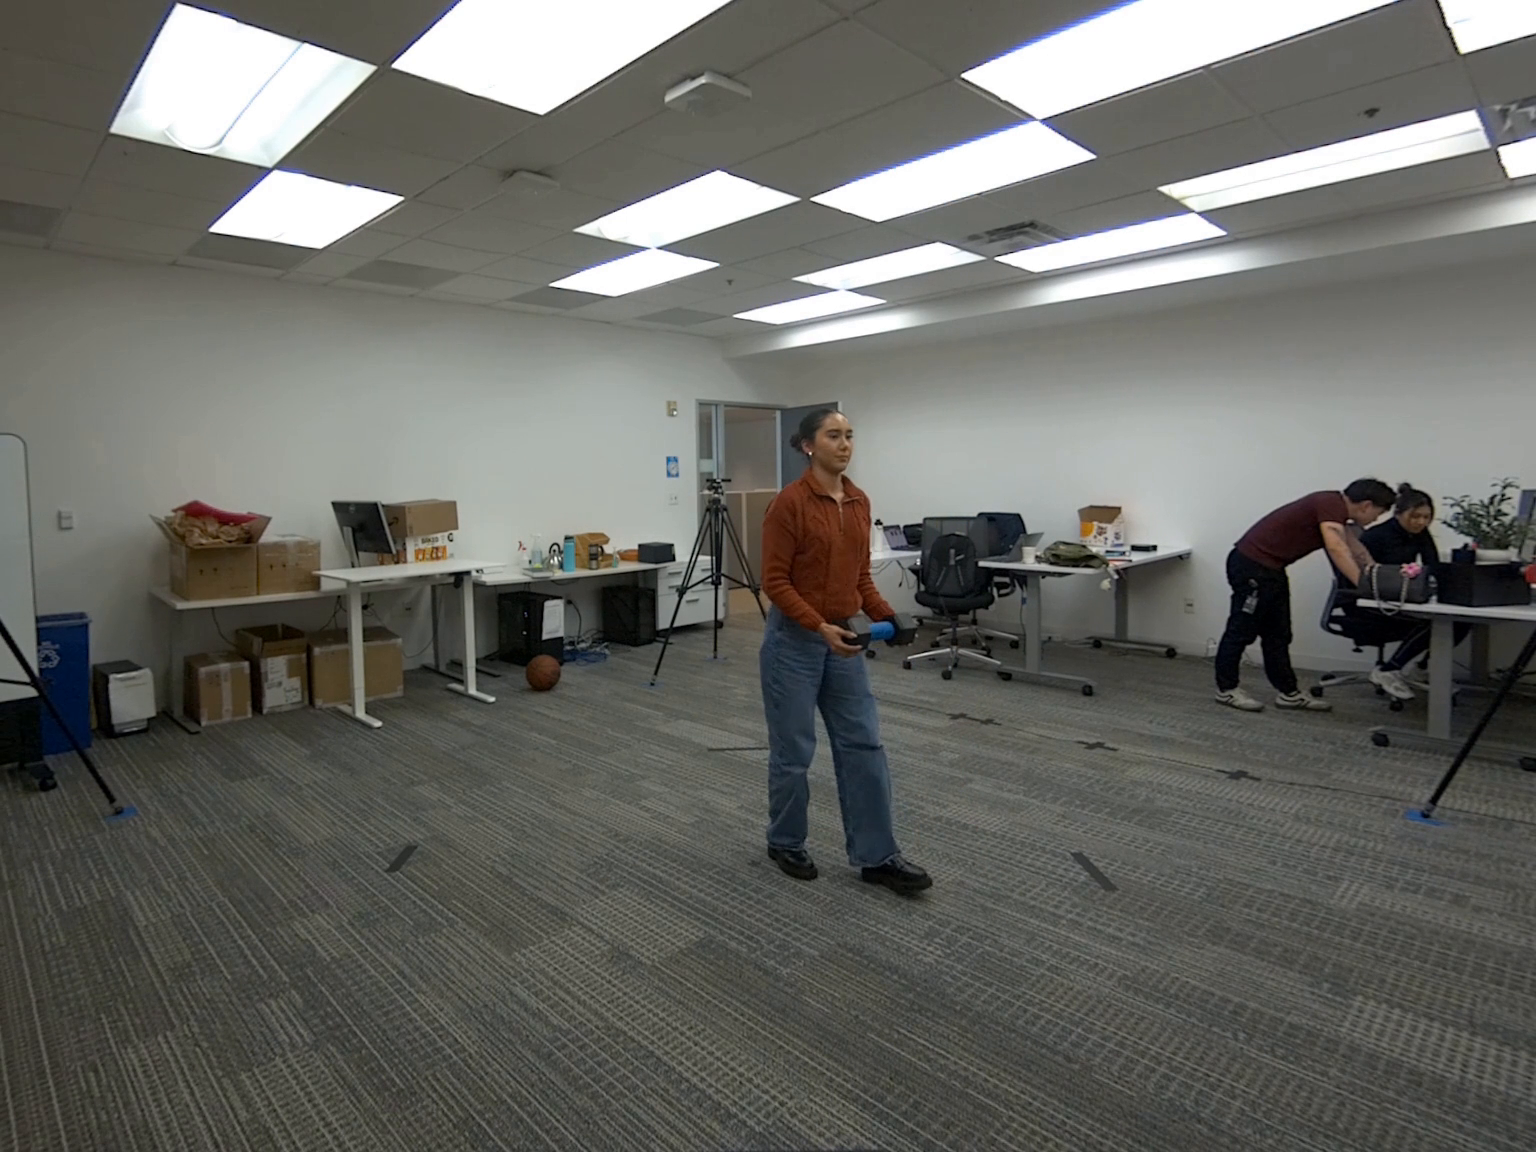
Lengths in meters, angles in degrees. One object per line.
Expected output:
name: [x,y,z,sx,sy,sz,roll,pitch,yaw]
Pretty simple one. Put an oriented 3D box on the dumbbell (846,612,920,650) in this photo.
dumbbell: [0.350,0.188,2.835,0.286,0.127,0.108,-3,-37,-35]
